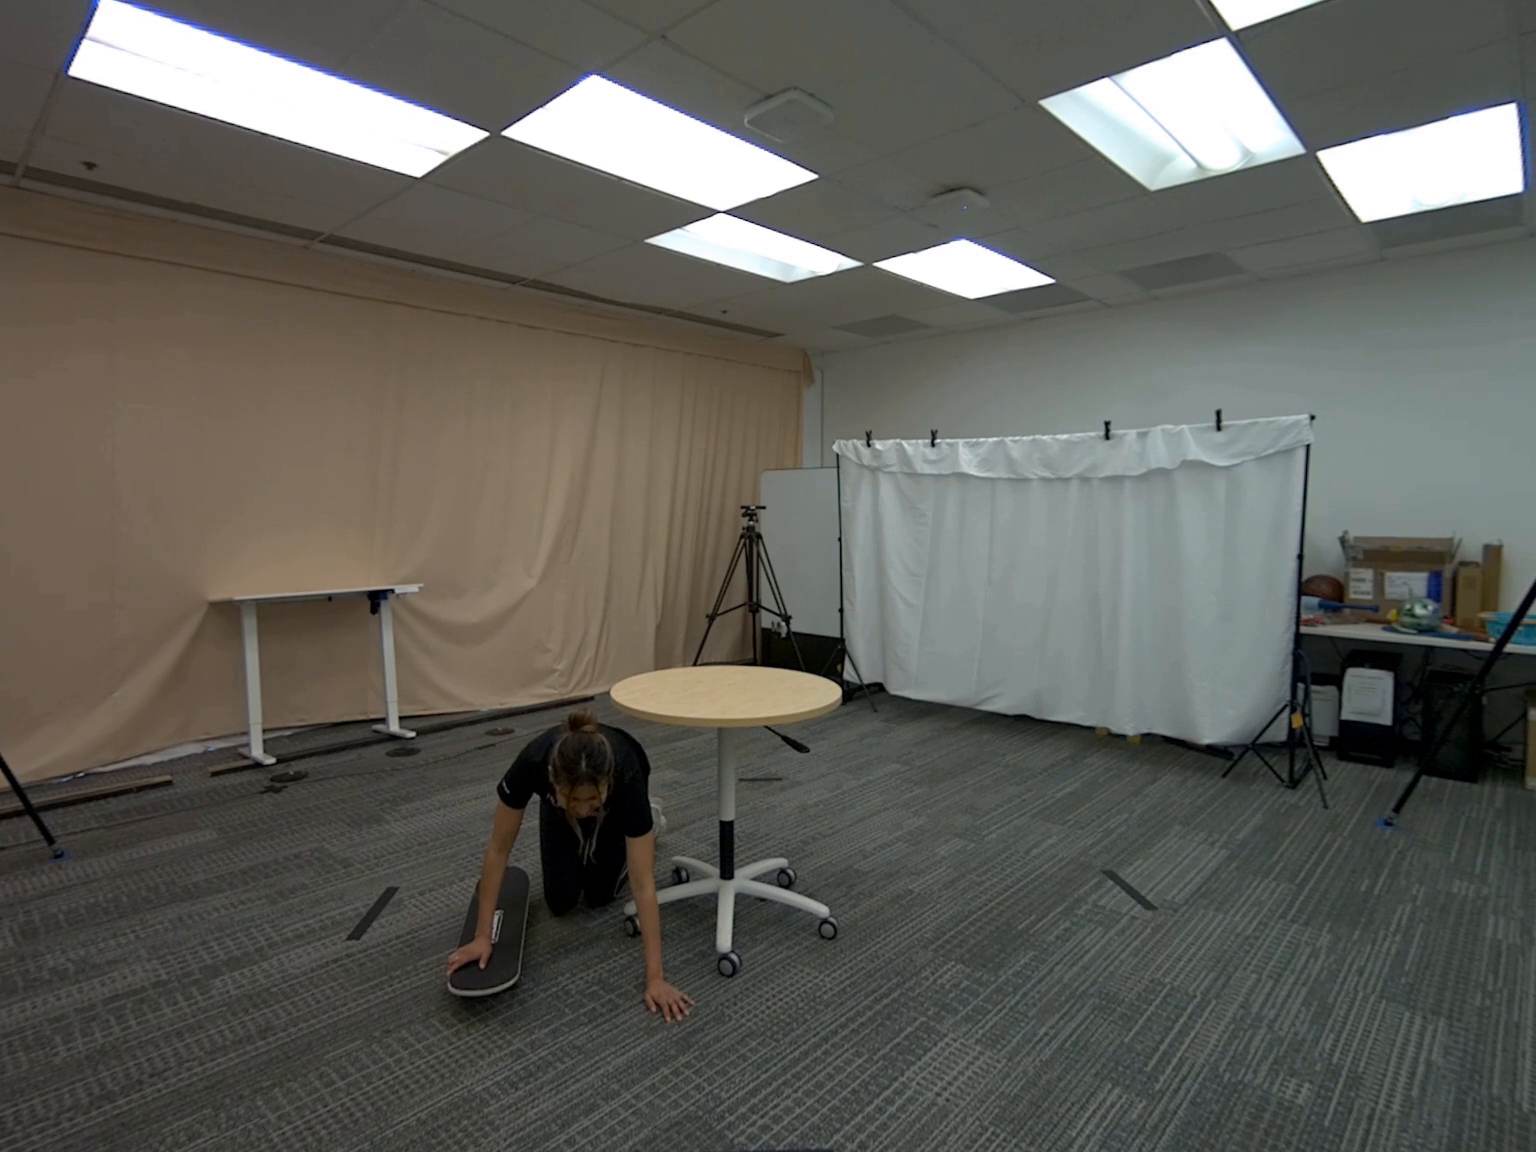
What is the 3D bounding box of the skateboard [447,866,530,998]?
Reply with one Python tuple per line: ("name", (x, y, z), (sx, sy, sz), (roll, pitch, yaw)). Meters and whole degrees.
("skateboard", (-0.848, 1.117, 2.627), (0.191, 0.110, 0.795), (-2, 4, -11))
